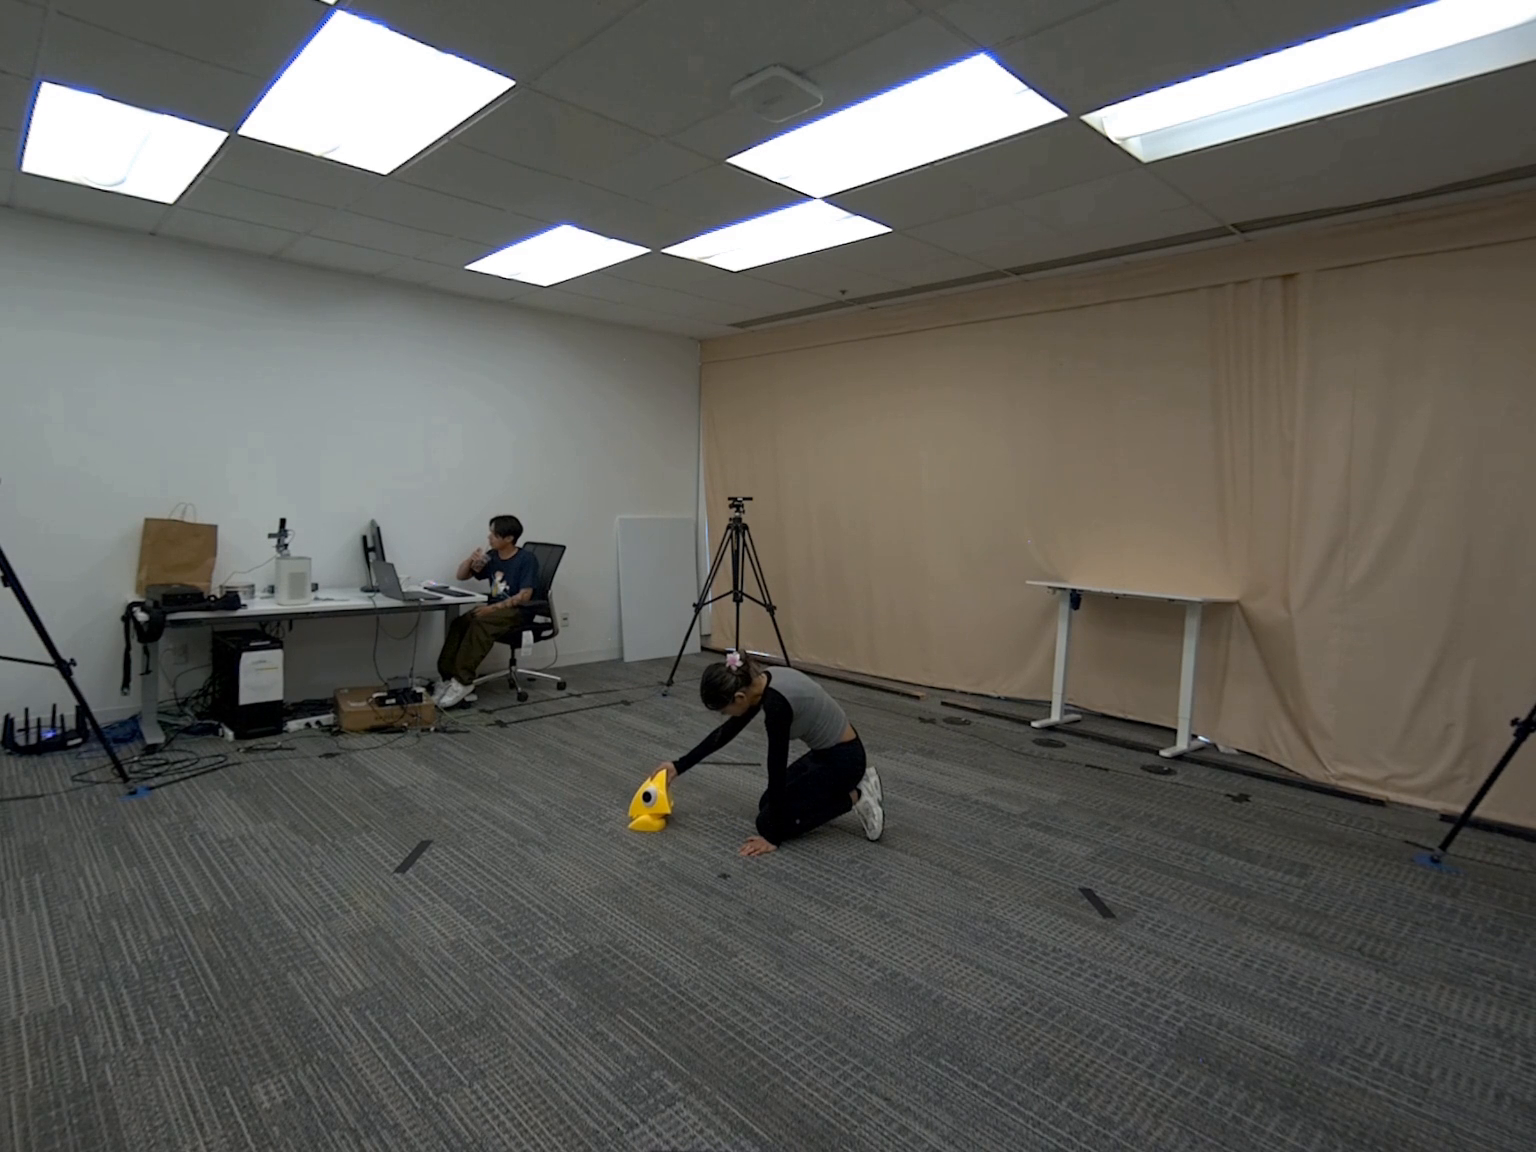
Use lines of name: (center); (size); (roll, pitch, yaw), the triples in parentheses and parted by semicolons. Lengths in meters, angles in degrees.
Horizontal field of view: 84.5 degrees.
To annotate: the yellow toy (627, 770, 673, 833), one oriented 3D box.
yellow toy: (-0.501, 0.936, 3.601); (0.193, 0.230, 0.205); (3, 4, -2)
